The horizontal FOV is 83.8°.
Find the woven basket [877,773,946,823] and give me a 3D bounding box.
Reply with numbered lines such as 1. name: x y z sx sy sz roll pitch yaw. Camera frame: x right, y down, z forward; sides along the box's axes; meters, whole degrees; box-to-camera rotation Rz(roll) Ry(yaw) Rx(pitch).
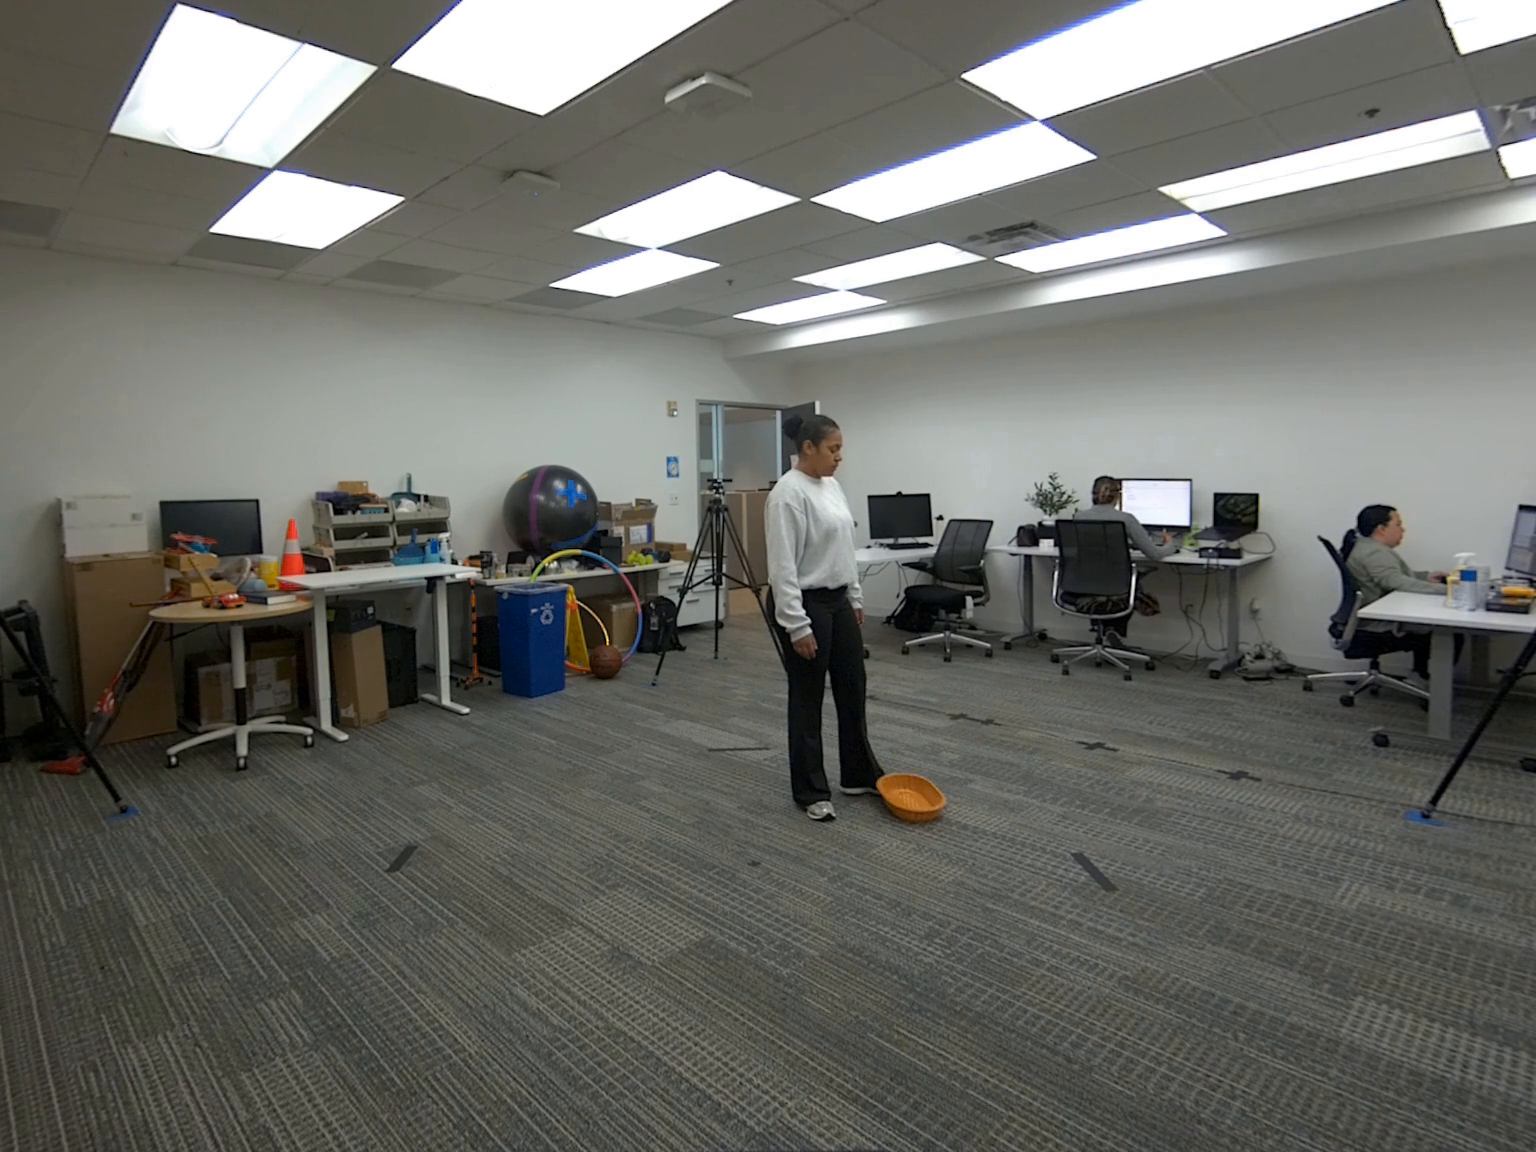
1. woven basket: 0.586 0.934 3.575 0.250 0.073 0.356 -3 11 -10
